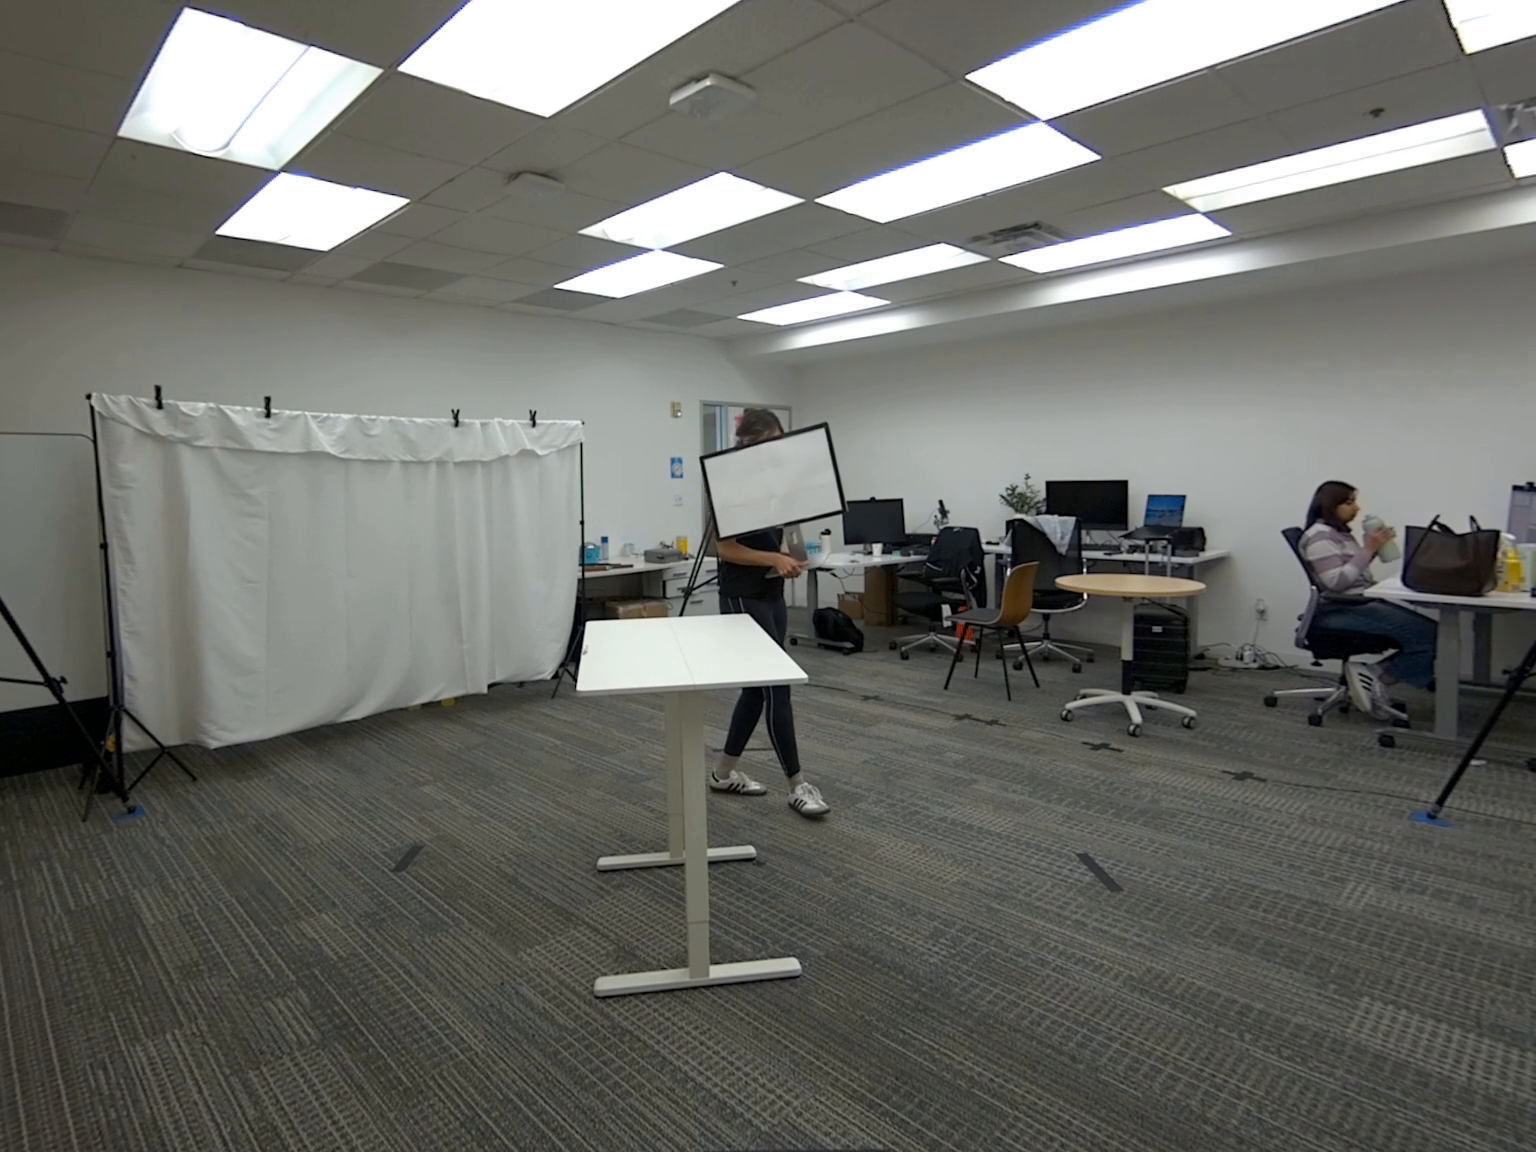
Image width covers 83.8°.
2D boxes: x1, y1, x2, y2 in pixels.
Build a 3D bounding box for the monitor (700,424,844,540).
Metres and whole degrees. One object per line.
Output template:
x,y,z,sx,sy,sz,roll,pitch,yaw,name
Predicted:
0.054,-0.292,3.458,0.547,0.518,0.186,-13,9,20,monitor
